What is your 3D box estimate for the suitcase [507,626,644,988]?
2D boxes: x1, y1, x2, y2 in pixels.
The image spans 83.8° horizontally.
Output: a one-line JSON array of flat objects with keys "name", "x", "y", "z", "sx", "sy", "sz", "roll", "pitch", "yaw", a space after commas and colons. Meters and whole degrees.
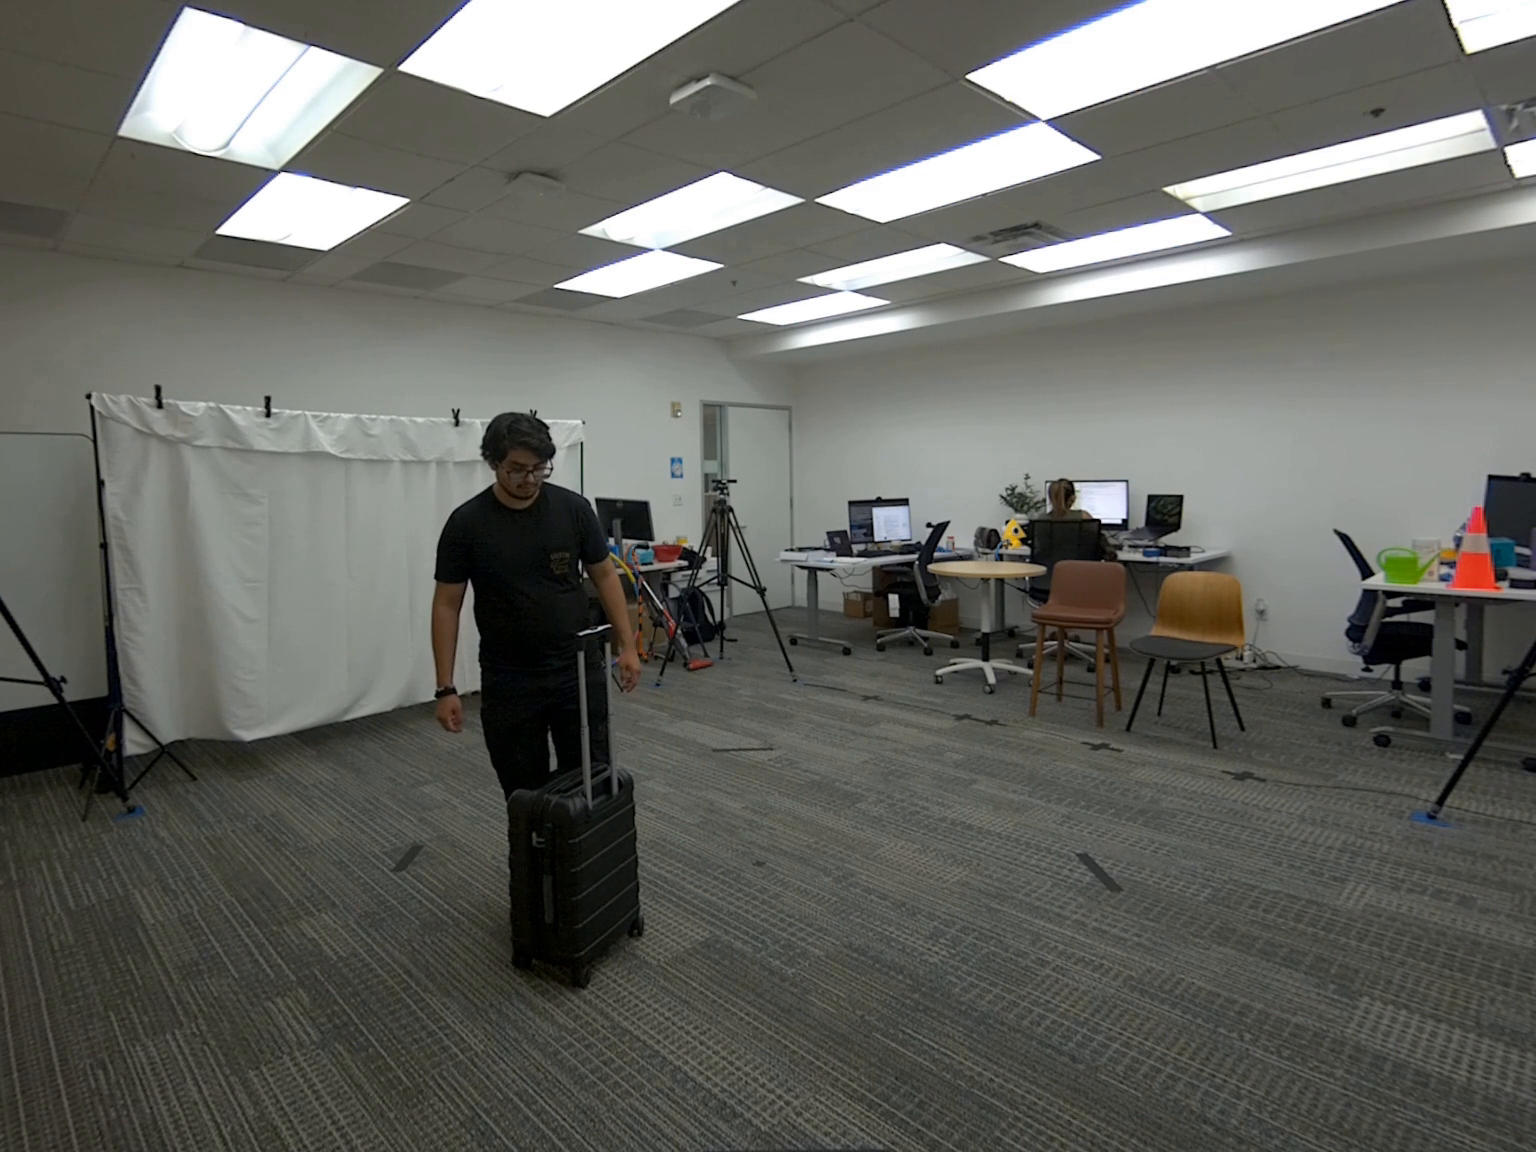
[{"name": "suitcase", "x": -0.574, "y": 0.650, "z": 2.506, "sx": 0.263, "sy": 0.975, "sz": 0.377, "roll": 0, "pitch": 5, "yaw": 25}]
